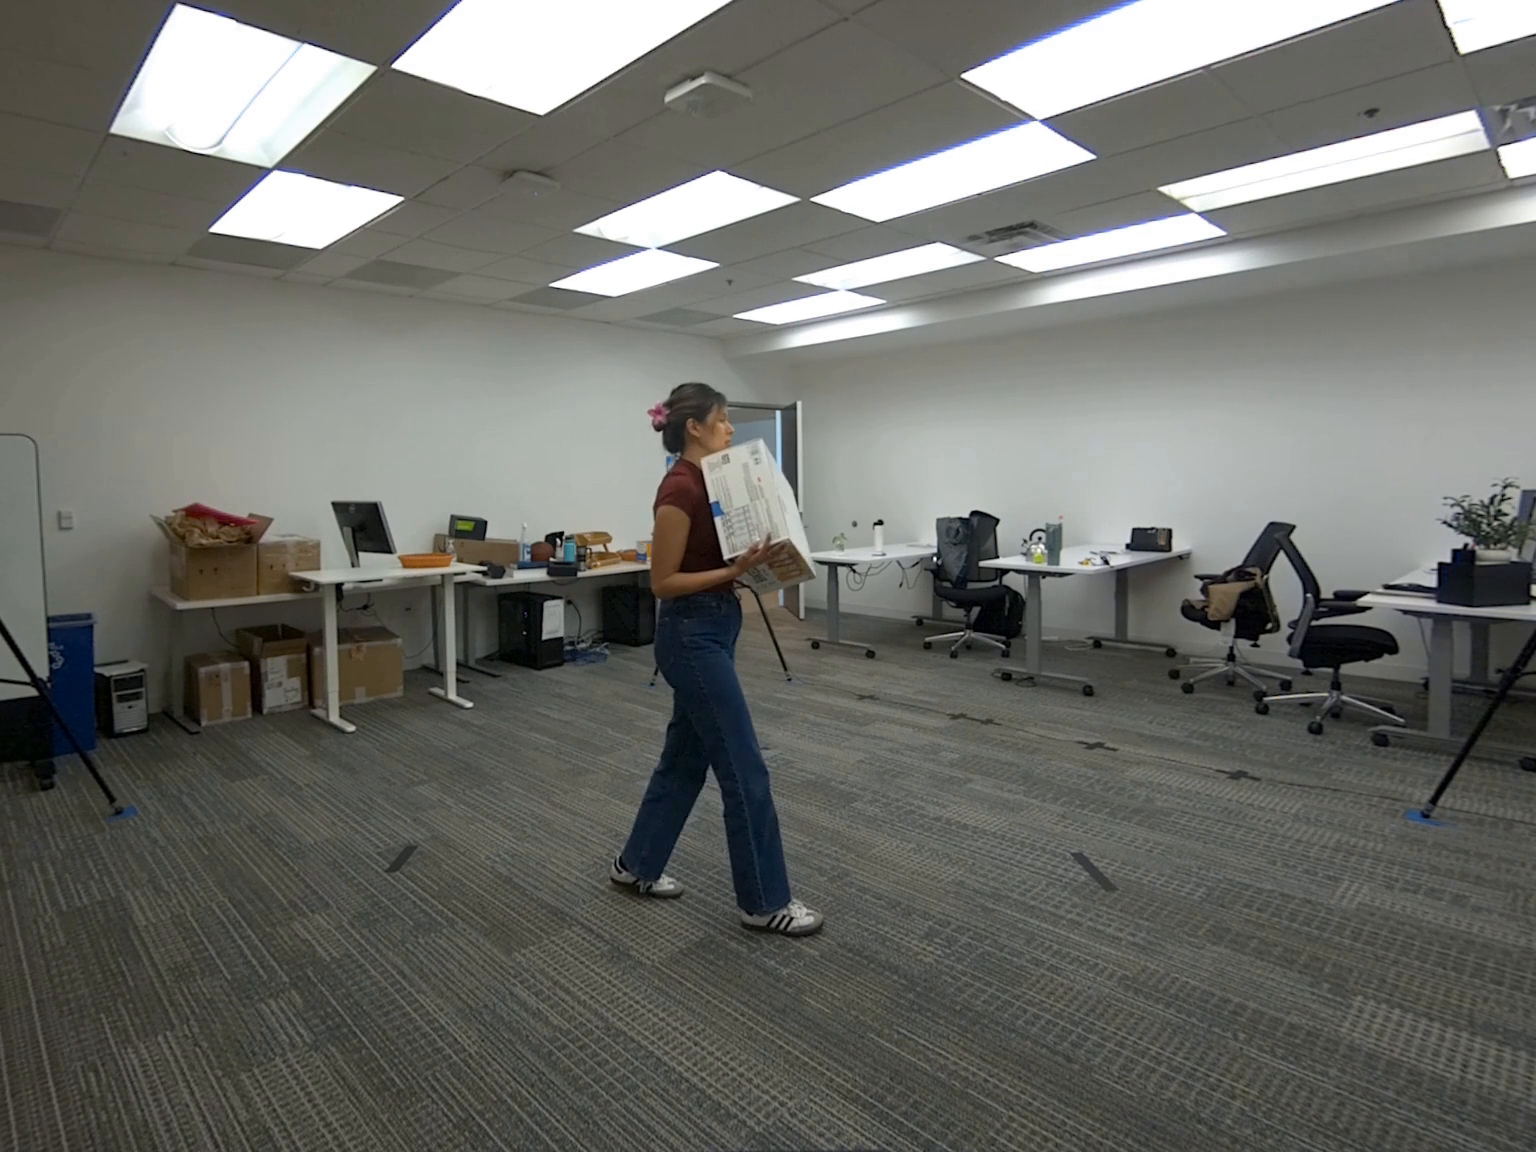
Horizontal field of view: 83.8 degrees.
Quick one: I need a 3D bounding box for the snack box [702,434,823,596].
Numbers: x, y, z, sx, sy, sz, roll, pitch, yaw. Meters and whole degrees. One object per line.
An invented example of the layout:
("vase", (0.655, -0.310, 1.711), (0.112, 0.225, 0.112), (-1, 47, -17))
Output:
("snack box", (-0.014, -0.179, 2.676), (0.207, 0.348, 0.393), (-19, -22, 10))
